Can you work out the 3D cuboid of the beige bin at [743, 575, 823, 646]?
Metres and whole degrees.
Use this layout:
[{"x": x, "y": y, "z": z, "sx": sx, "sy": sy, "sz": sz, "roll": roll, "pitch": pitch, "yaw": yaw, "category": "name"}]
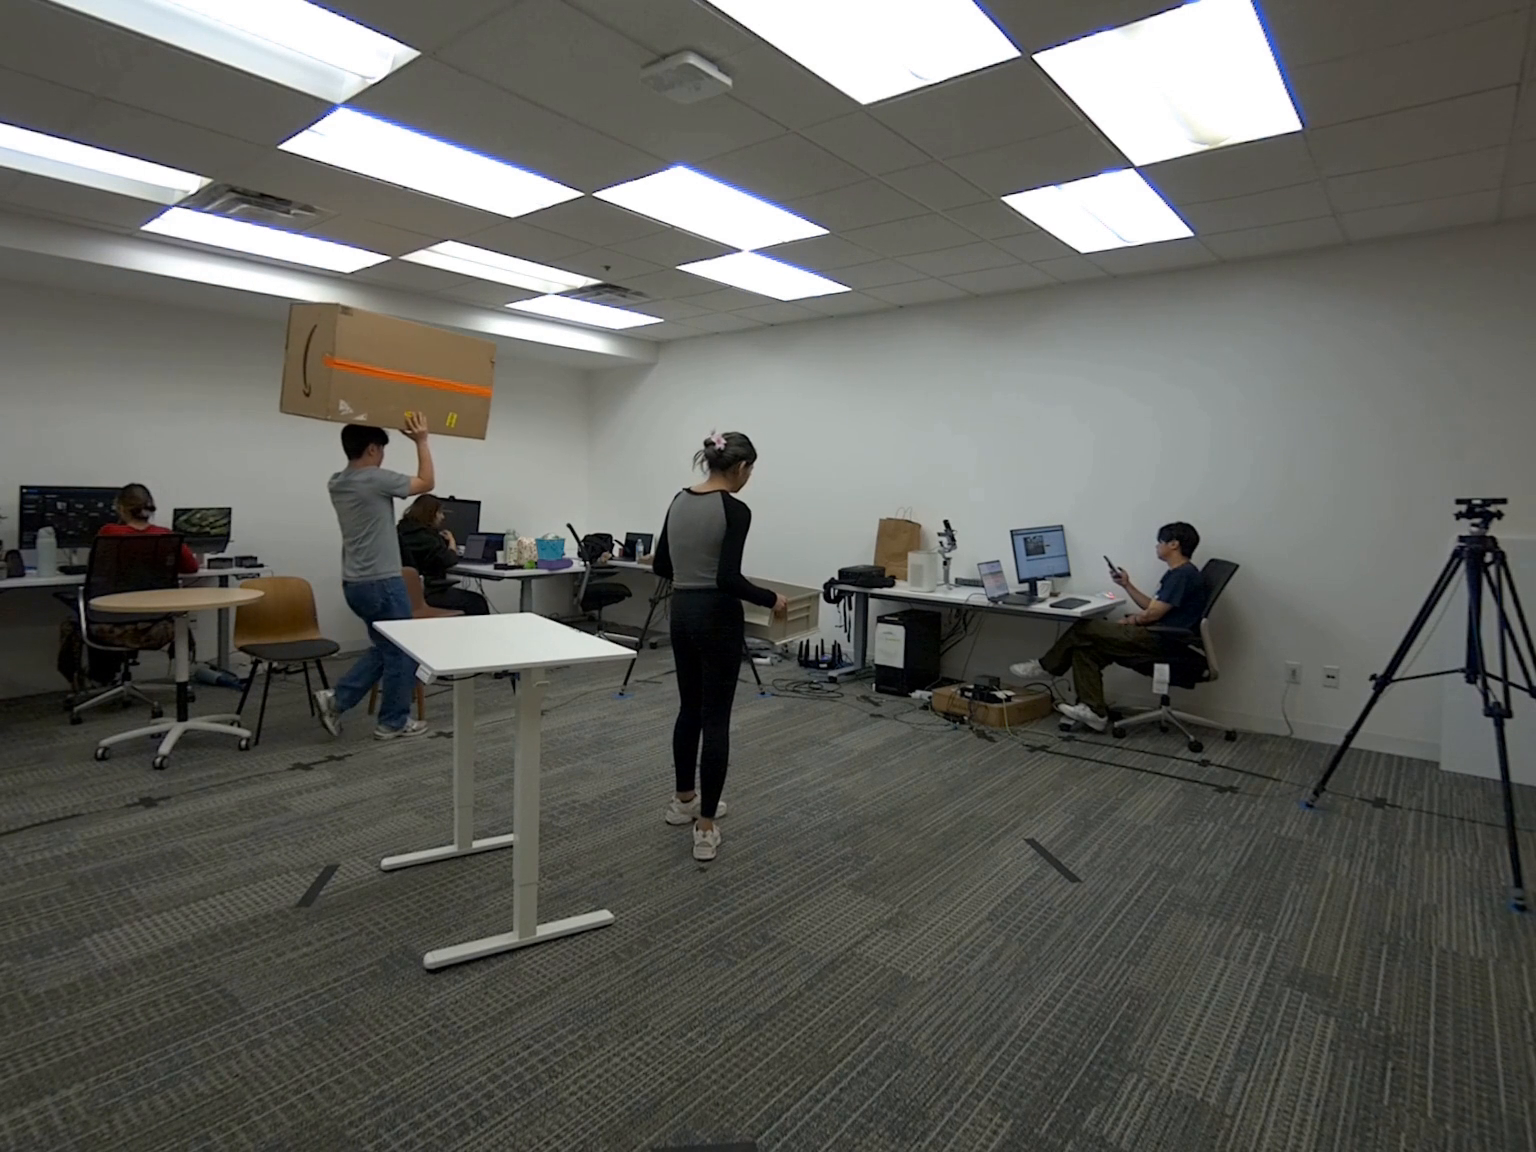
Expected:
[{"x": -0.053, "y": 0.134, "z": 3.597, "sx": 0.437, "sy": 0.187, "sz": 0.367, "roll": 8, "pitch": 11, "yaw": 39, "category": "beige bin"}]
